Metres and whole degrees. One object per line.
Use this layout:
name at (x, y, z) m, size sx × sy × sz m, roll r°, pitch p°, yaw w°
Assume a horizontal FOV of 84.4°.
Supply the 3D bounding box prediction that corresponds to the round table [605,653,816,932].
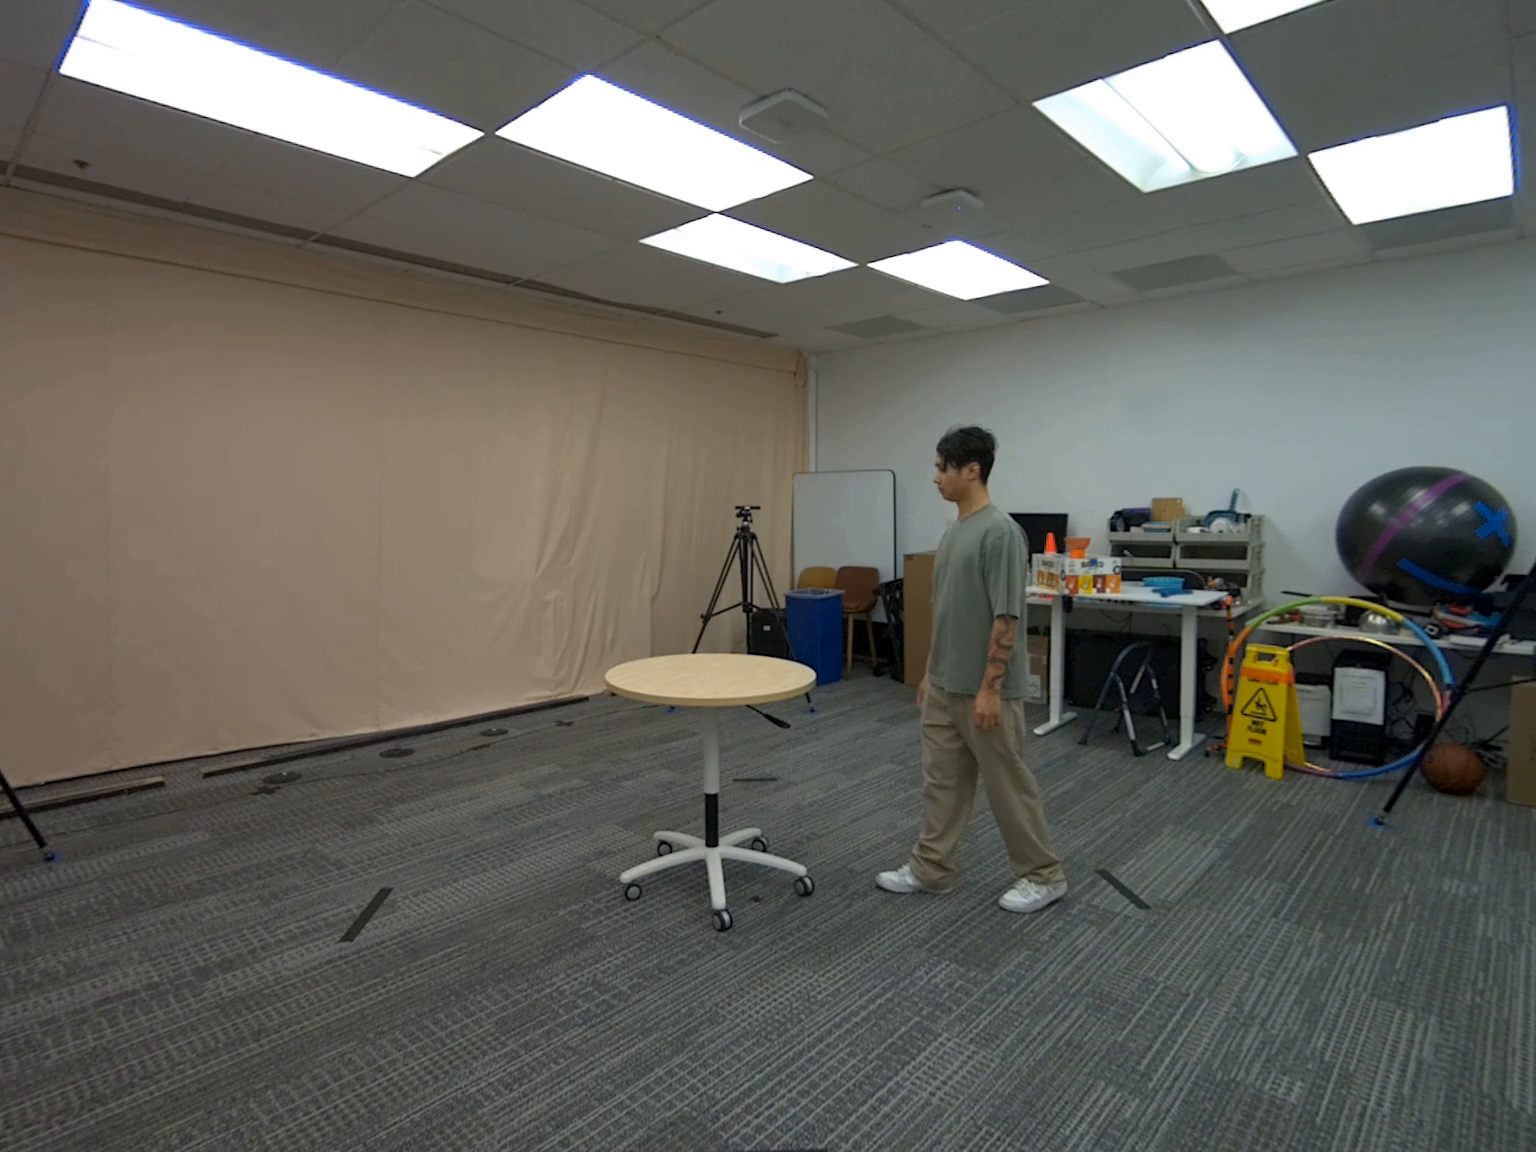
round table at (-0.210, 0.745, 3.107) m, size 0.784 × 0.784 × 0.788 m, roll 0°, pitch 4°, yaw -2°
